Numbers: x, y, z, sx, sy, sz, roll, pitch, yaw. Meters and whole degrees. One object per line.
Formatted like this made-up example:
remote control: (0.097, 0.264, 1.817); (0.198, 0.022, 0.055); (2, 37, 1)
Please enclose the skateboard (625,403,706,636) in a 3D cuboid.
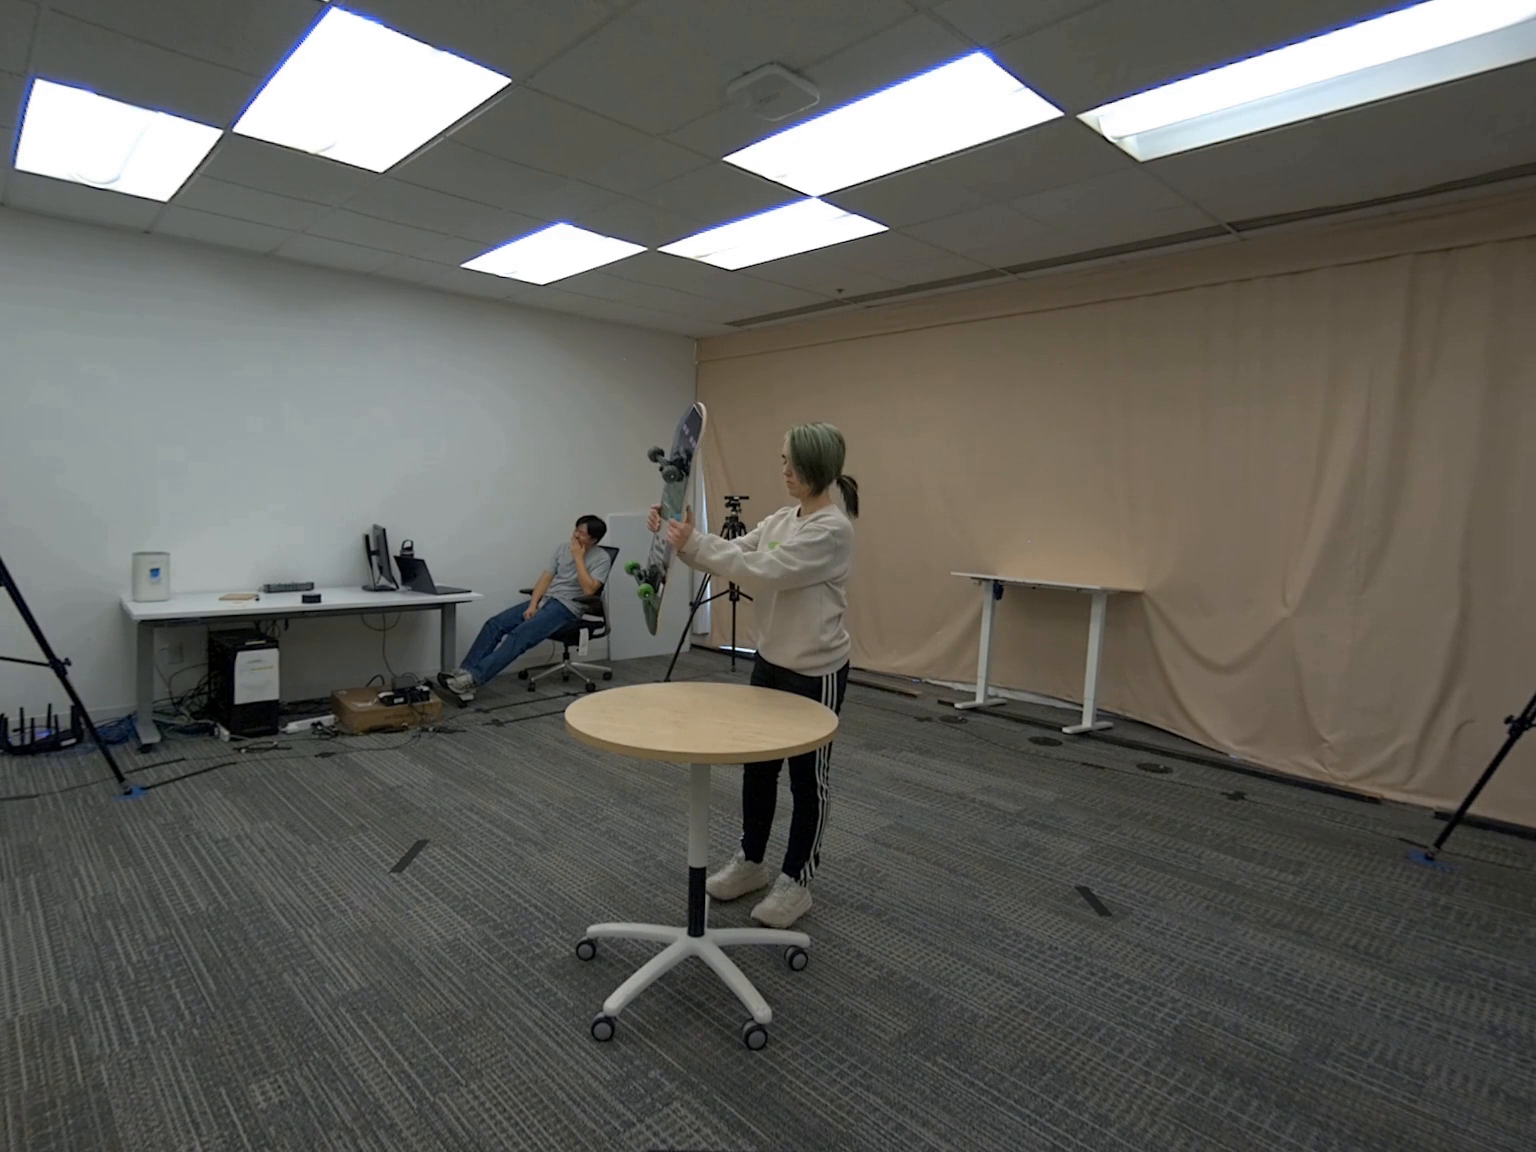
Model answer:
skateboard: (-0.340, -0.153, 2.595); (0.108, 0.777, 0.199); (2, 27, -28)
